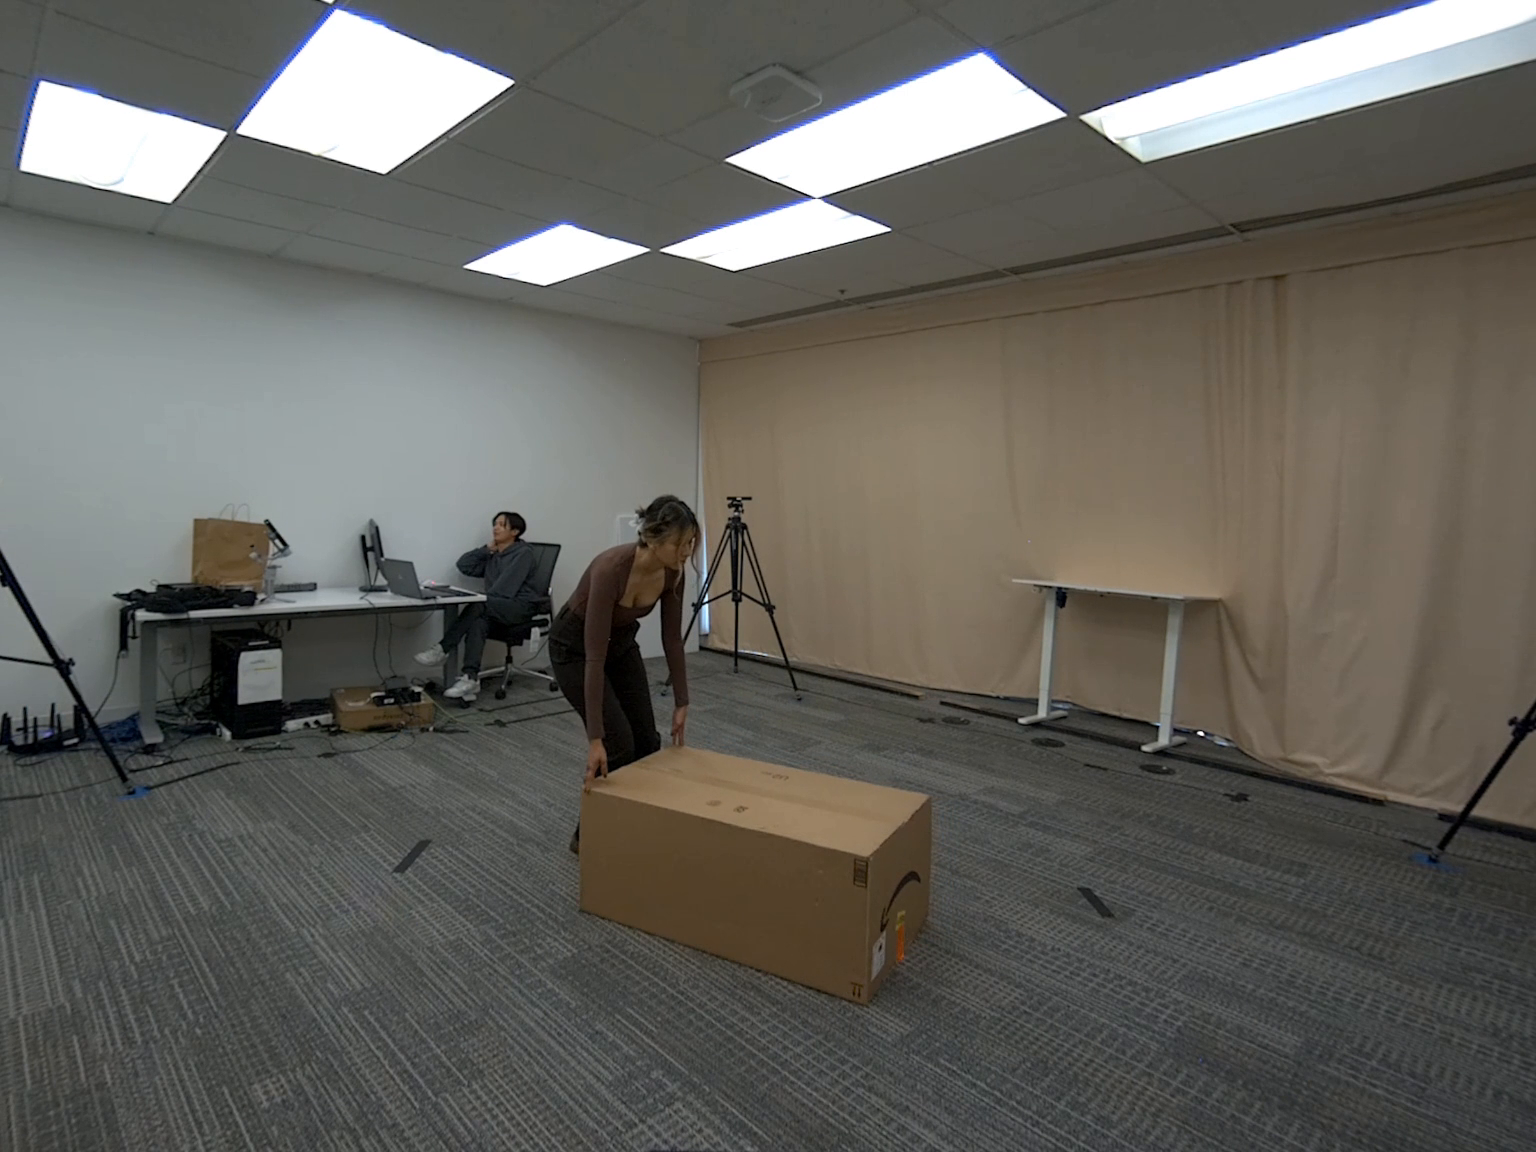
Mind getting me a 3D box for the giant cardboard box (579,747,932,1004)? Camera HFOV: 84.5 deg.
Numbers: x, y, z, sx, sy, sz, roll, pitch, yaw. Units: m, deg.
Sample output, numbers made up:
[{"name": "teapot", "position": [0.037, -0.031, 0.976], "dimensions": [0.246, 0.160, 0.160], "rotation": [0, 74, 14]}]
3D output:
[{"name": "giant cardboard box", "position": [-0.042, 0.927, 2.799], "dimensions": [1.049, 0.446, 0.573], "rotation": [4, 4, 29]}]
